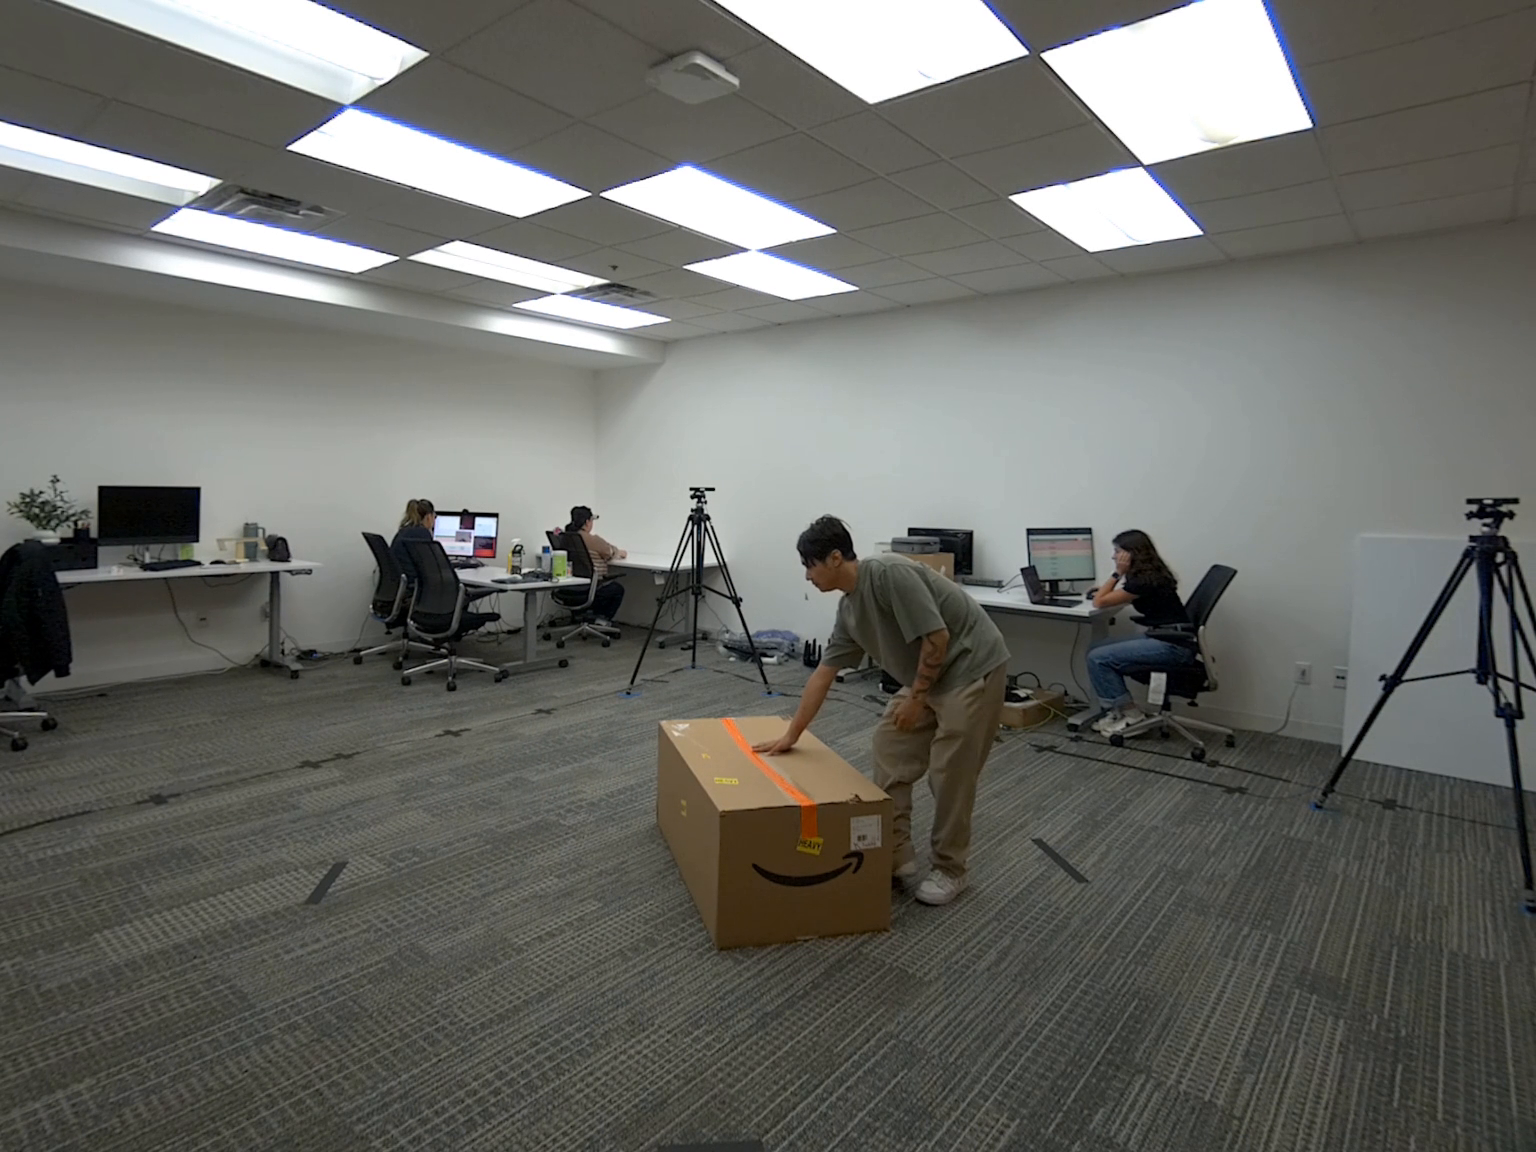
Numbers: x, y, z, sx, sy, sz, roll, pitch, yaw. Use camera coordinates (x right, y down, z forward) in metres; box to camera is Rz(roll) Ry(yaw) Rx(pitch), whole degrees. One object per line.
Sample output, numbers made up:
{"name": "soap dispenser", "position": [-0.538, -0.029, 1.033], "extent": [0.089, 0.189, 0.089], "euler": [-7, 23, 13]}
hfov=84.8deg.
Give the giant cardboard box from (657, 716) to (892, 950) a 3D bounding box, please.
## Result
{"name": "giant cardboard box", "position": [-0.044, 0.856, 3.104], "extent": [0.568, 0.424, 1.047], "euler": [0, 5, -17]}
